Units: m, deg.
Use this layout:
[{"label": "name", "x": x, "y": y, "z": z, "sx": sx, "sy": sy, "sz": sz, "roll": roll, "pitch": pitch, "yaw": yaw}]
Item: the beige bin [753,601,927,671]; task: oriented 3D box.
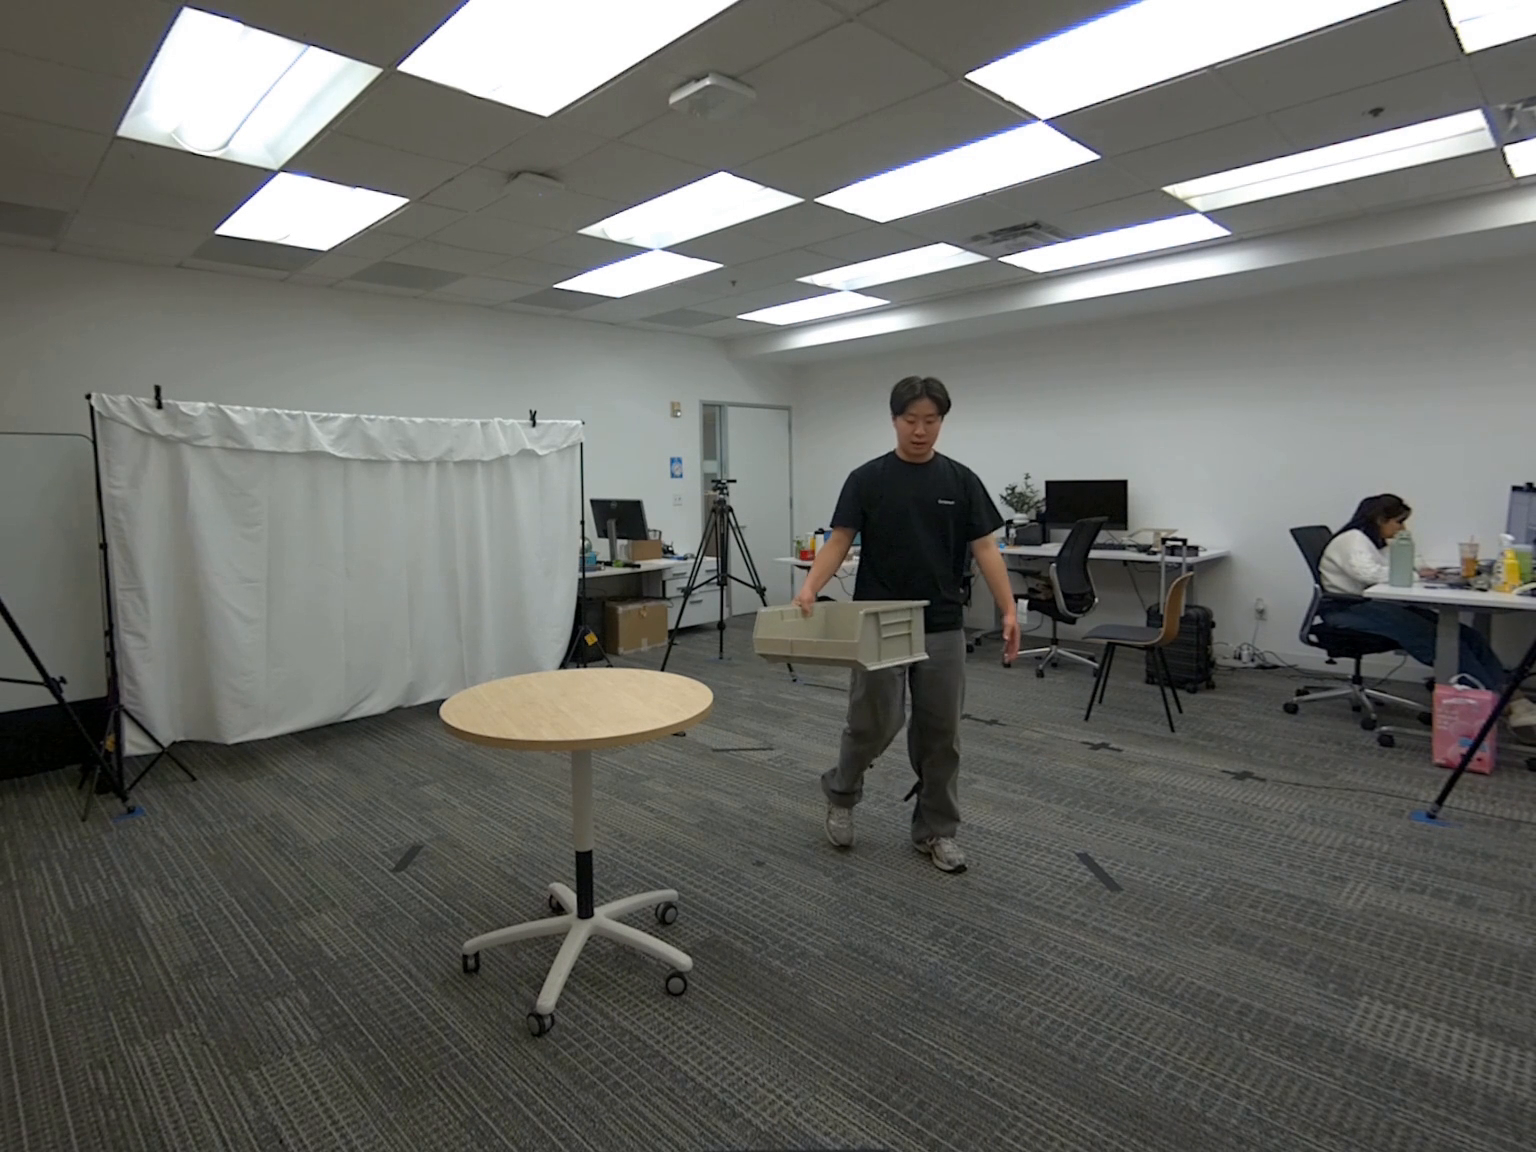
[{"label": "beige bin", "x": 0.235, "y": 0.185, "z": 2.699, "sx": 0.366, "sy": 0.189, "sz": 0.434, "roll": -2, "pitch": -1, "yaw": -45}]
